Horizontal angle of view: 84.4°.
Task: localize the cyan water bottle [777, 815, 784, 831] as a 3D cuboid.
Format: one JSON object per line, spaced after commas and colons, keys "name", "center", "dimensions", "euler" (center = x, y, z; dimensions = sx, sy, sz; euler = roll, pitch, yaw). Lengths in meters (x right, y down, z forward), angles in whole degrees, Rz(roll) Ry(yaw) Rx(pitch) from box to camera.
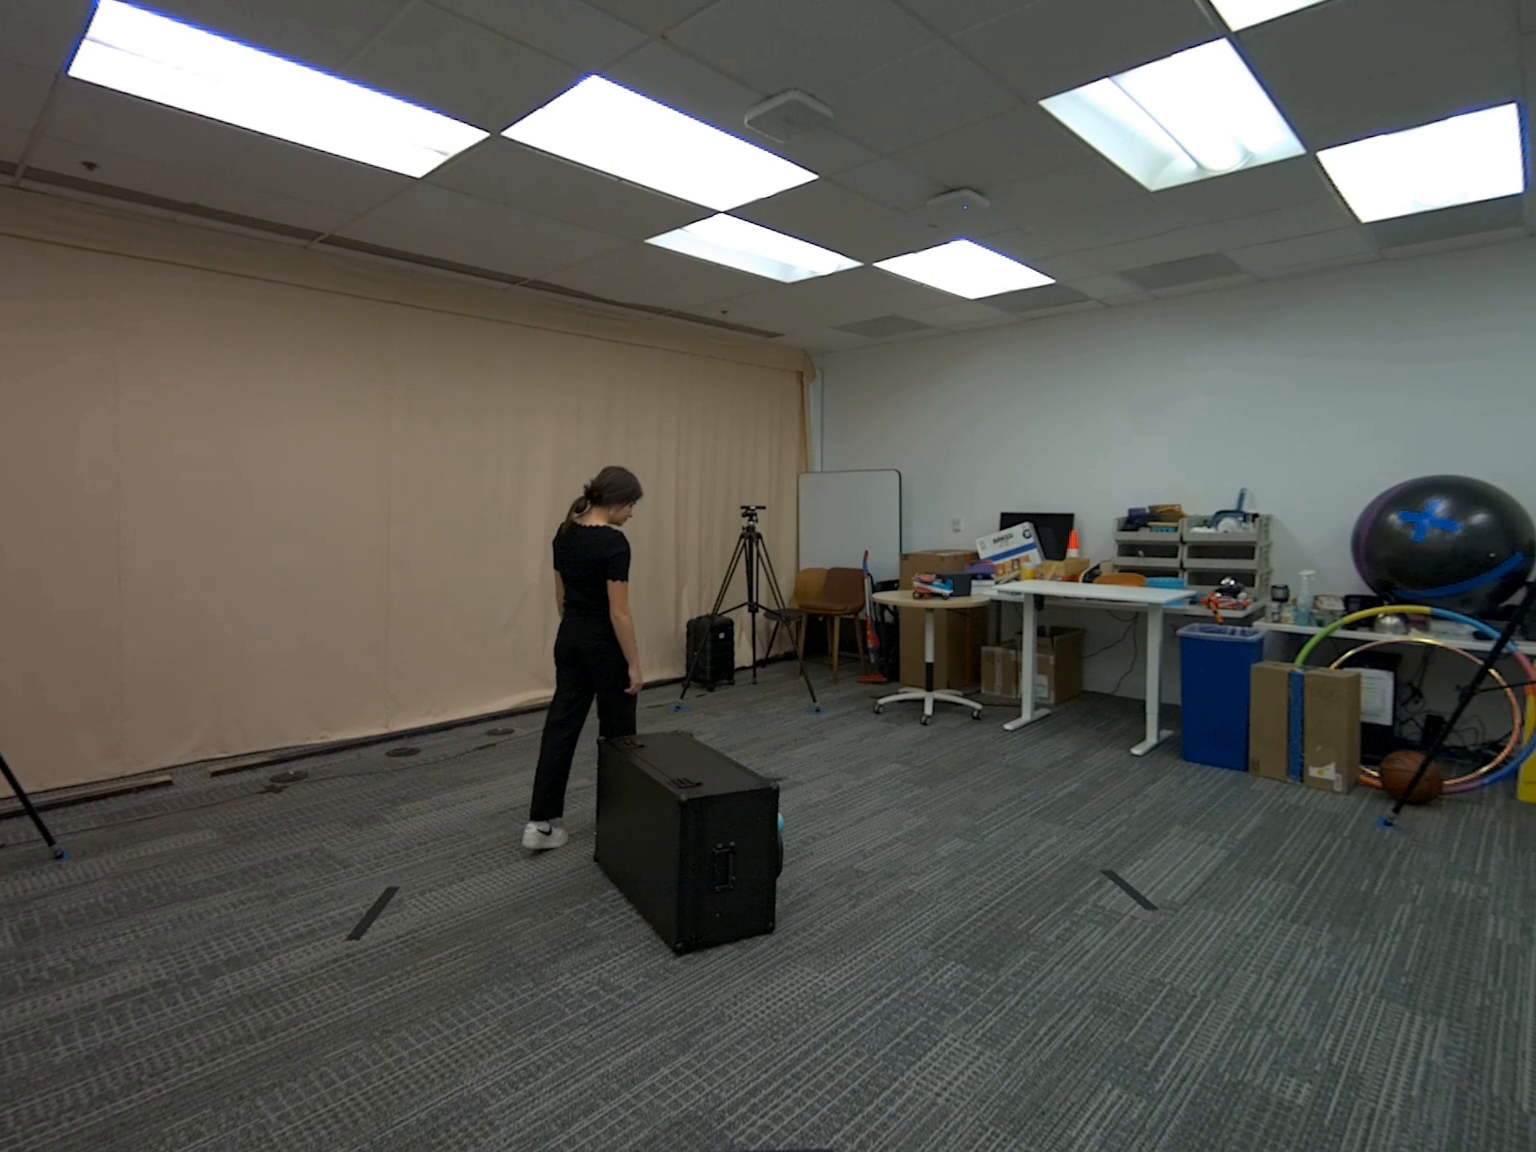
{"name": "cyan water bottle", "center": [-0.063, 1.055, 3.512], "dimensions": [0.275, 0.092, 0.095], "euler": [-3, 5, -34]}
